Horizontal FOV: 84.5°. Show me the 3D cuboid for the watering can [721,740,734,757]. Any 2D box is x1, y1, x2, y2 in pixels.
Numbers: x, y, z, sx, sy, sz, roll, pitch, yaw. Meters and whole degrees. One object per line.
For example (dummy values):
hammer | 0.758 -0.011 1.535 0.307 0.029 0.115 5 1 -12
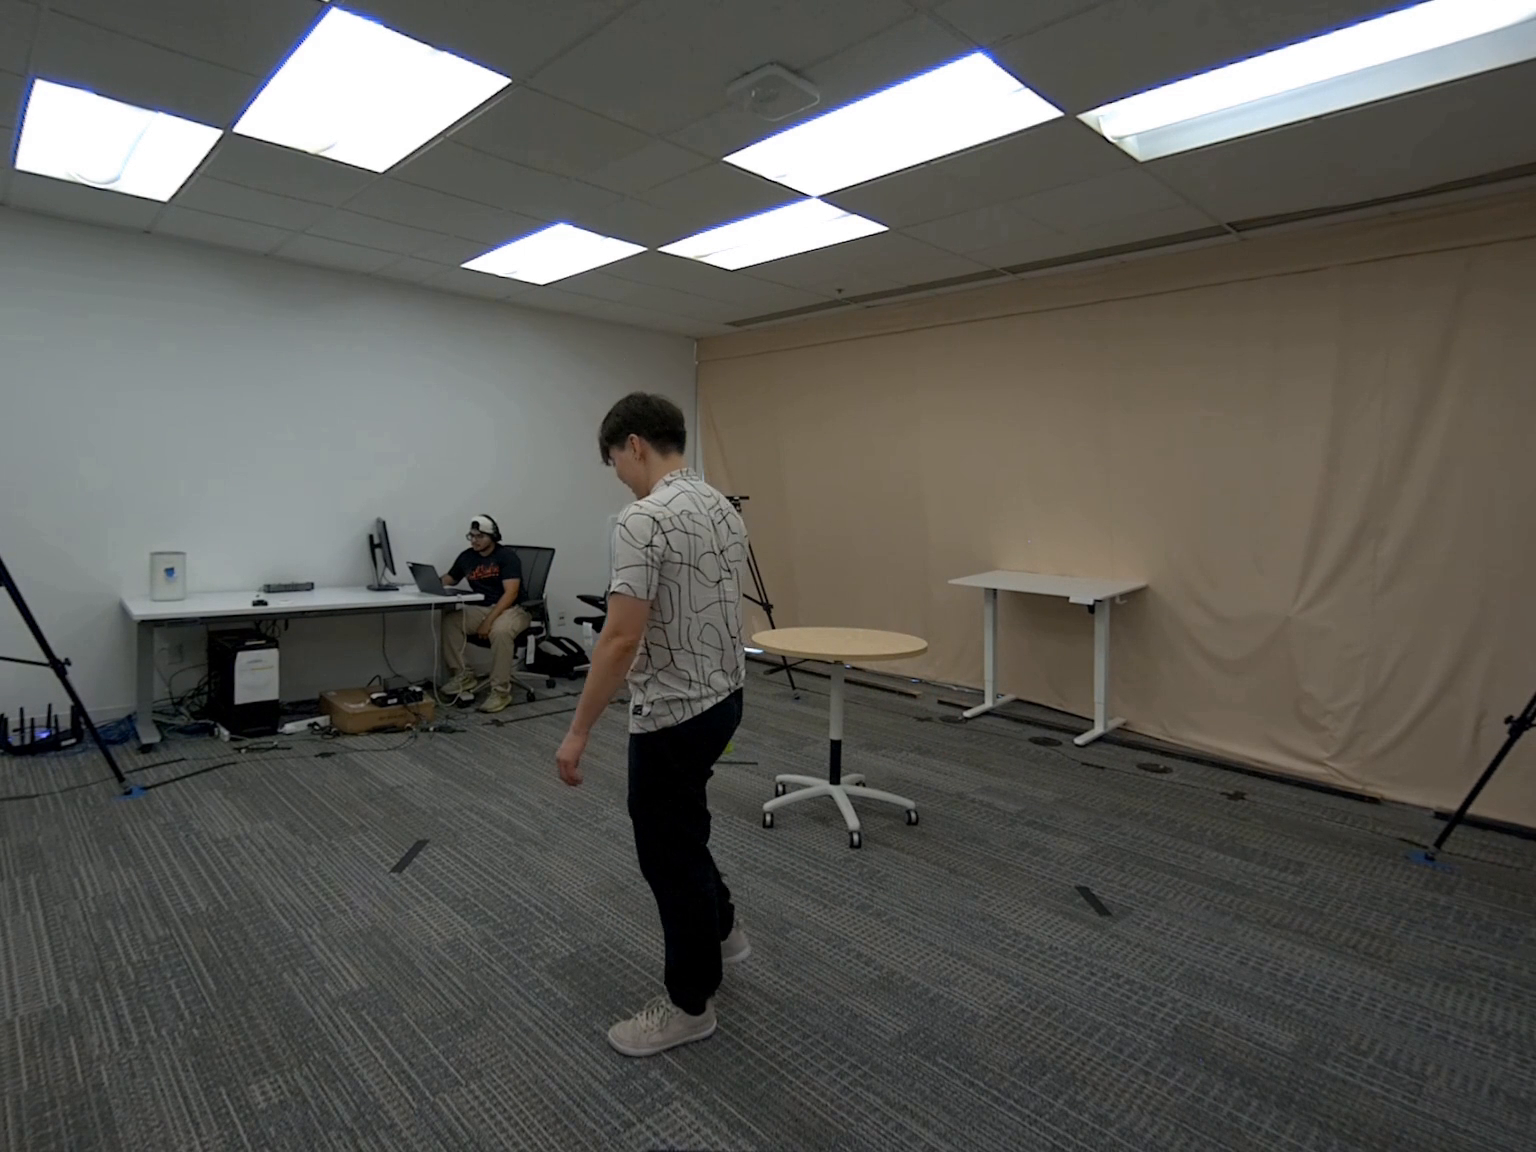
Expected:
watering can | -0.225 0.455 2.511 0.282 0.177 0.097 -5 1 20
